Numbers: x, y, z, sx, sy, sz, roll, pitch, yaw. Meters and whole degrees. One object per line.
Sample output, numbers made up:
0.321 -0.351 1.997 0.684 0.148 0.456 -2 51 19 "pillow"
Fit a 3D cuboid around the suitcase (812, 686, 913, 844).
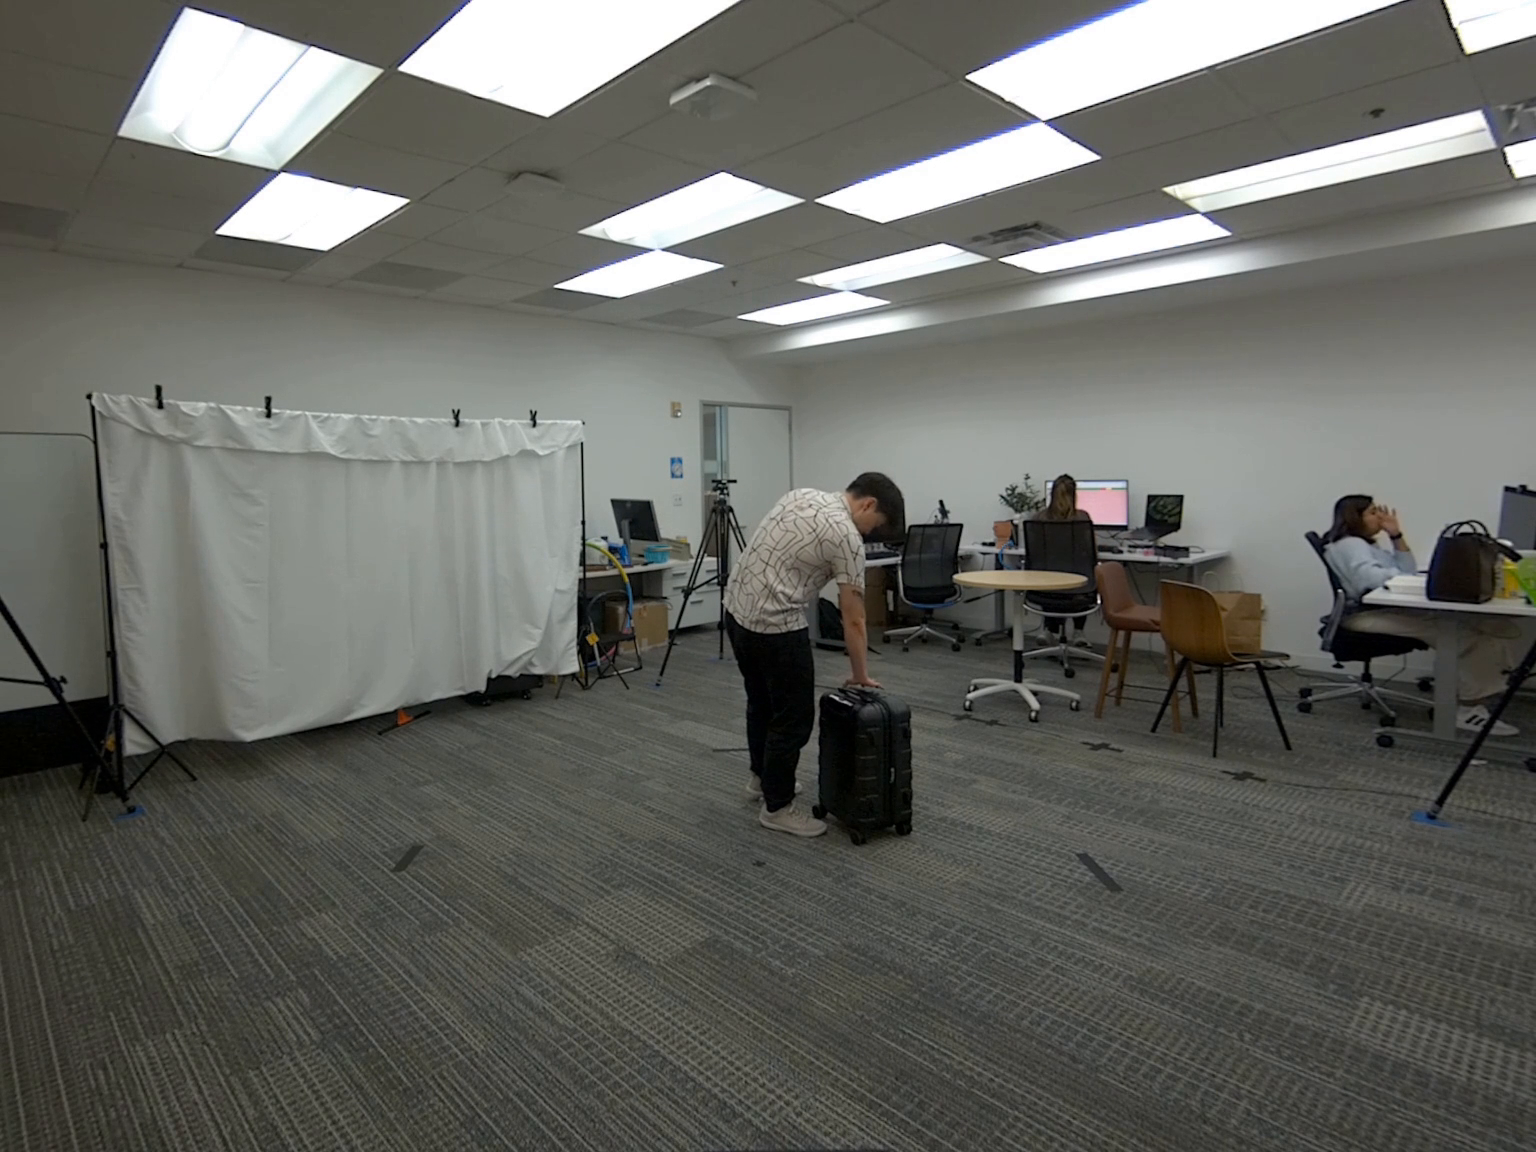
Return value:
0.385 0.728 3.412 0.243 0.547 0.385 -3 5 -27 "suitcase"
